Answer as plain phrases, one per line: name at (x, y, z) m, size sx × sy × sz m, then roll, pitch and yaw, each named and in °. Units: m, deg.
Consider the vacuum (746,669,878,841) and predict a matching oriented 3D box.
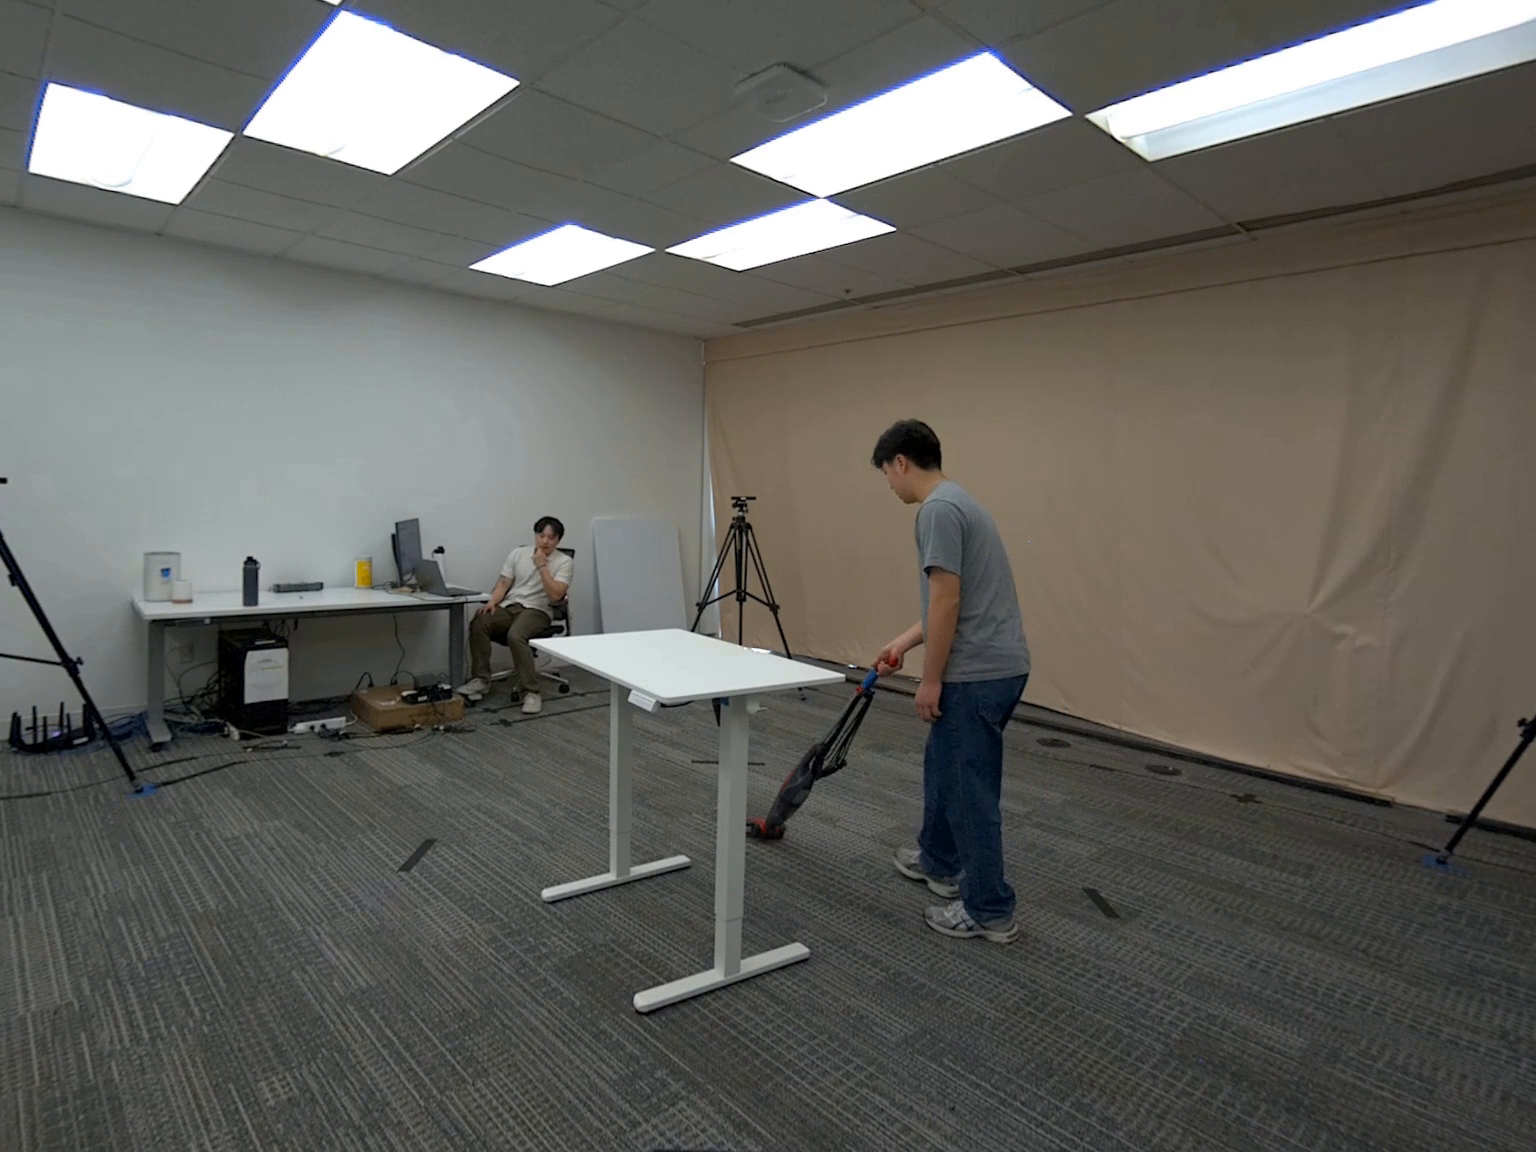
vacuum at (0.206, 0.678, 3.216) m, size 0.247 × 1.043 × 0.148 m, roll 11°, pitch 37°, yaw -30°
